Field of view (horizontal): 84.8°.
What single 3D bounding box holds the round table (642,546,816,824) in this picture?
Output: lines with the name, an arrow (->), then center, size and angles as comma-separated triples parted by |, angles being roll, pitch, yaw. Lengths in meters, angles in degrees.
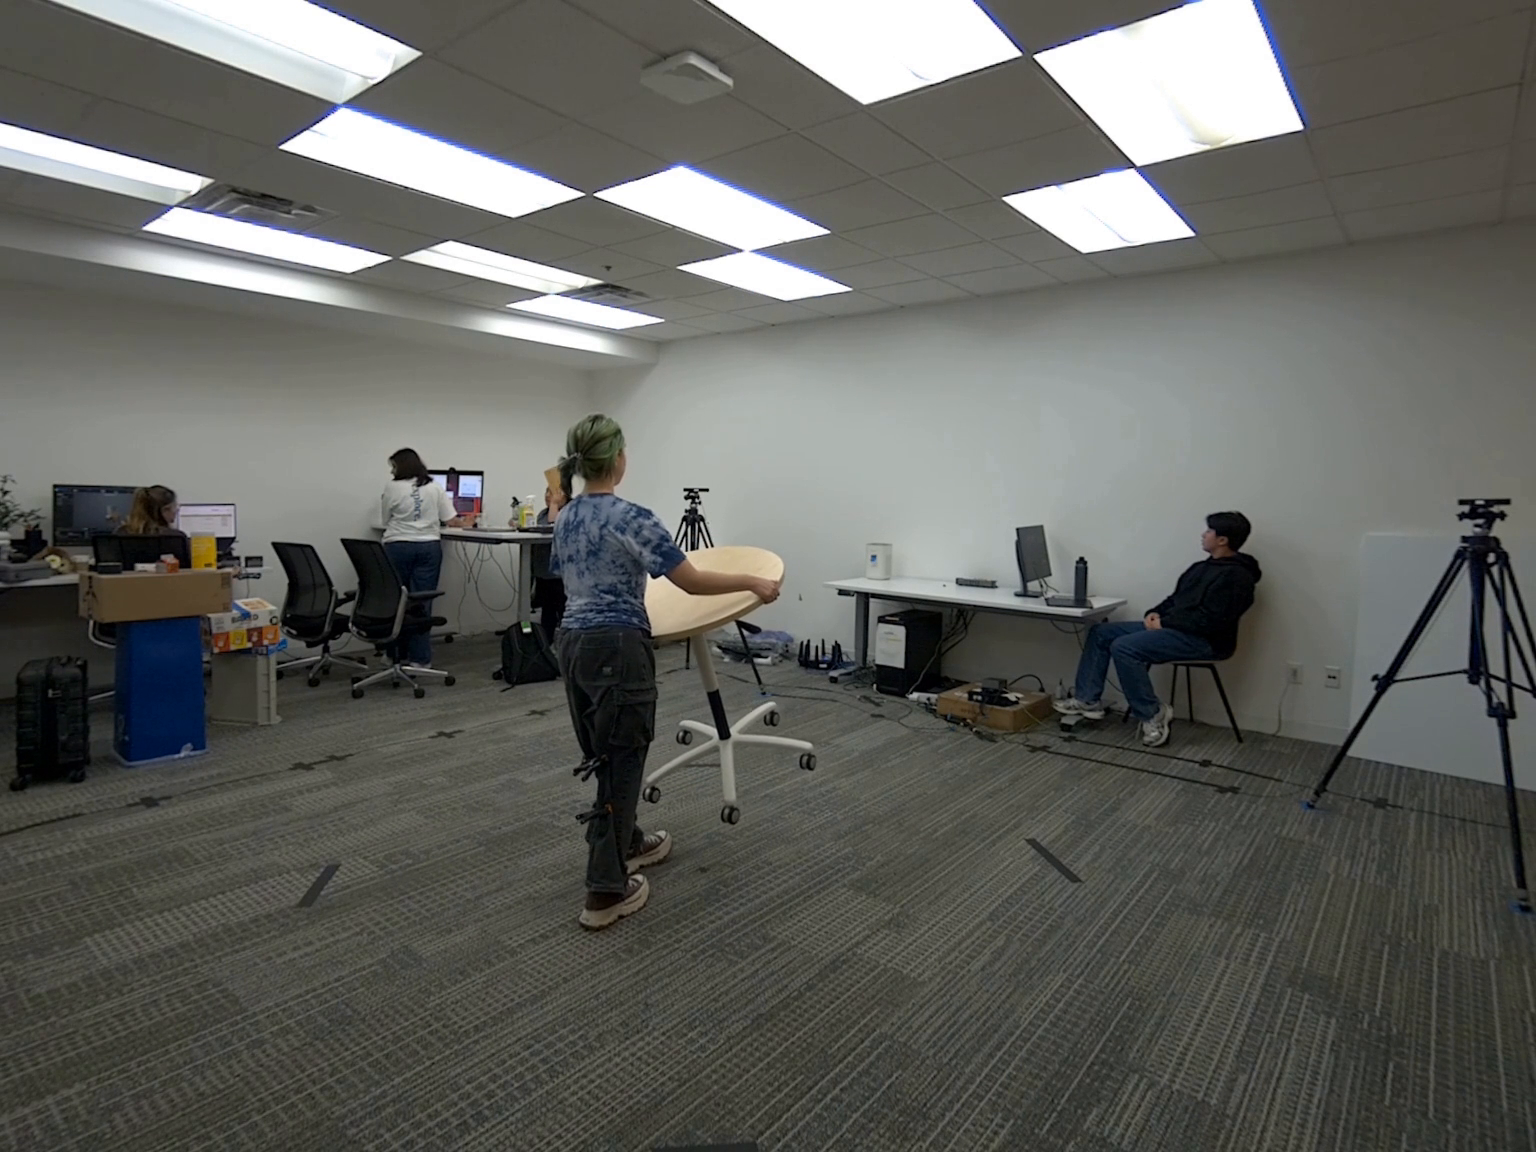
round table -> -0.238, 0.406, 3.318 | 0.766, 0.777, 0.779 | -13, 20, 3
